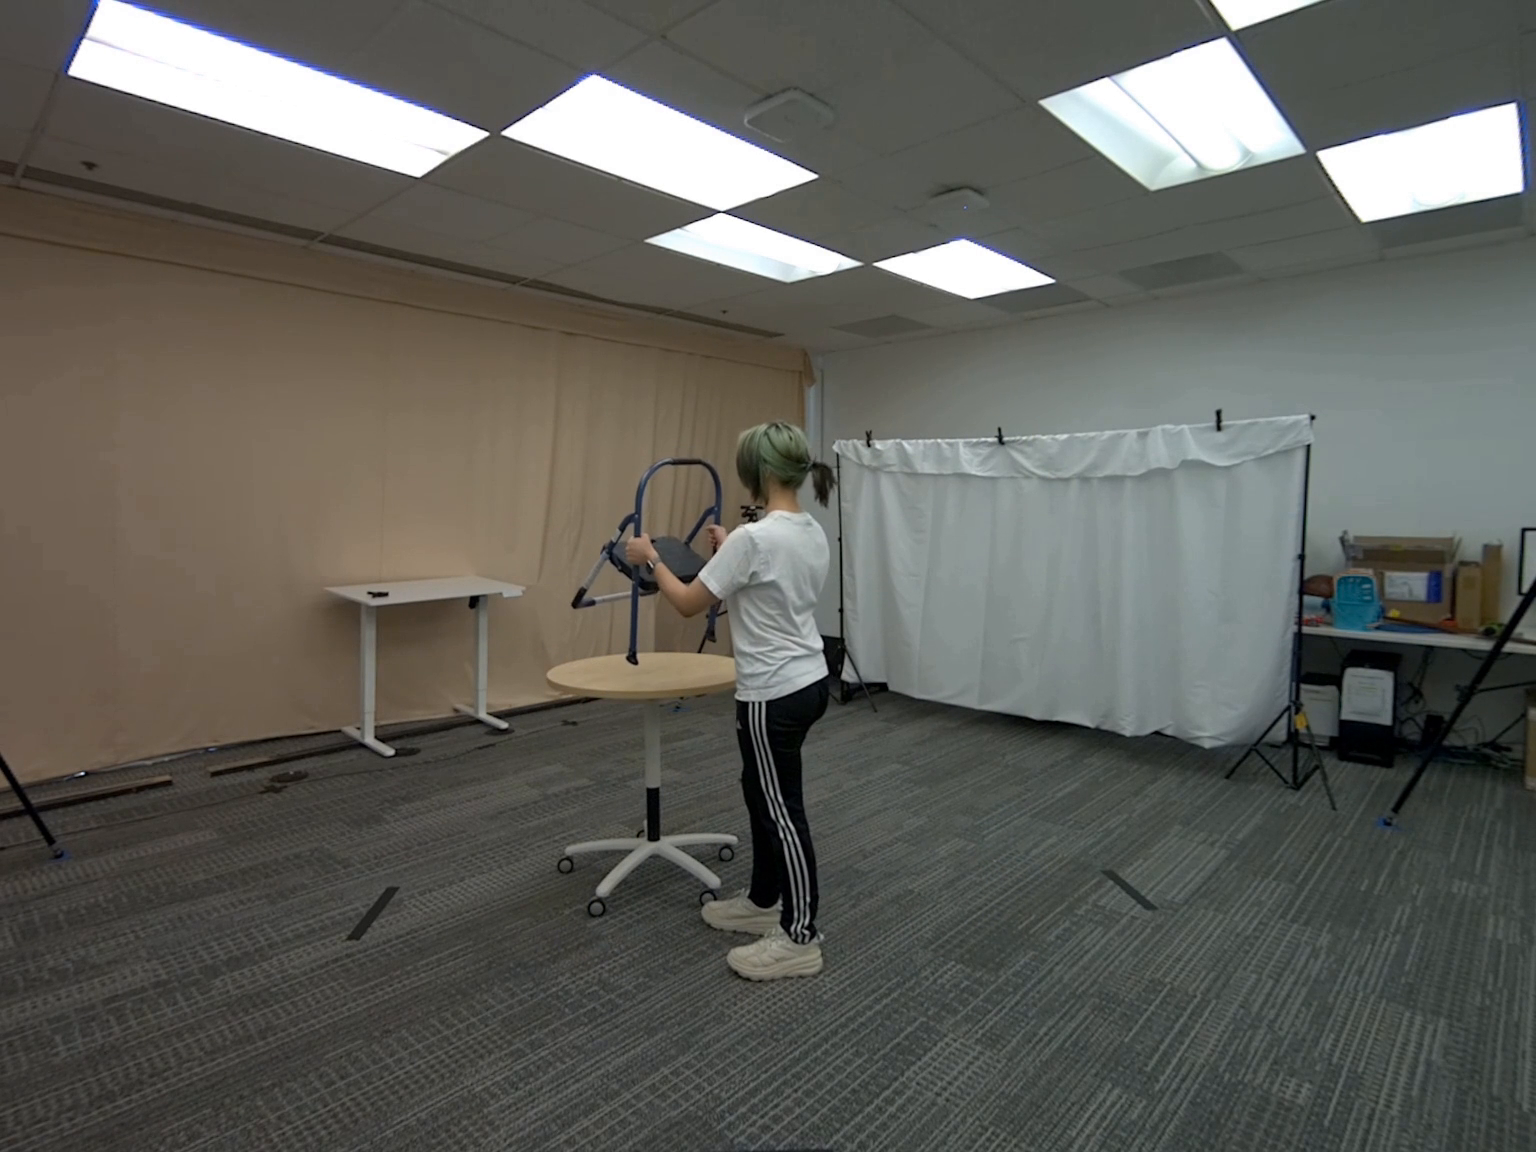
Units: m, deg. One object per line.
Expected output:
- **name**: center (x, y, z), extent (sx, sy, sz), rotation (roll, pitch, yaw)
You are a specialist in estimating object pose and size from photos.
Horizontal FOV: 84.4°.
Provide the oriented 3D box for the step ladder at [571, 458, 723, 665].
- **step ladder**: center (-0.332, -0.085, 2.841), extent (0.360, 0.603, 0.419), rotation (35, 25, 29)
